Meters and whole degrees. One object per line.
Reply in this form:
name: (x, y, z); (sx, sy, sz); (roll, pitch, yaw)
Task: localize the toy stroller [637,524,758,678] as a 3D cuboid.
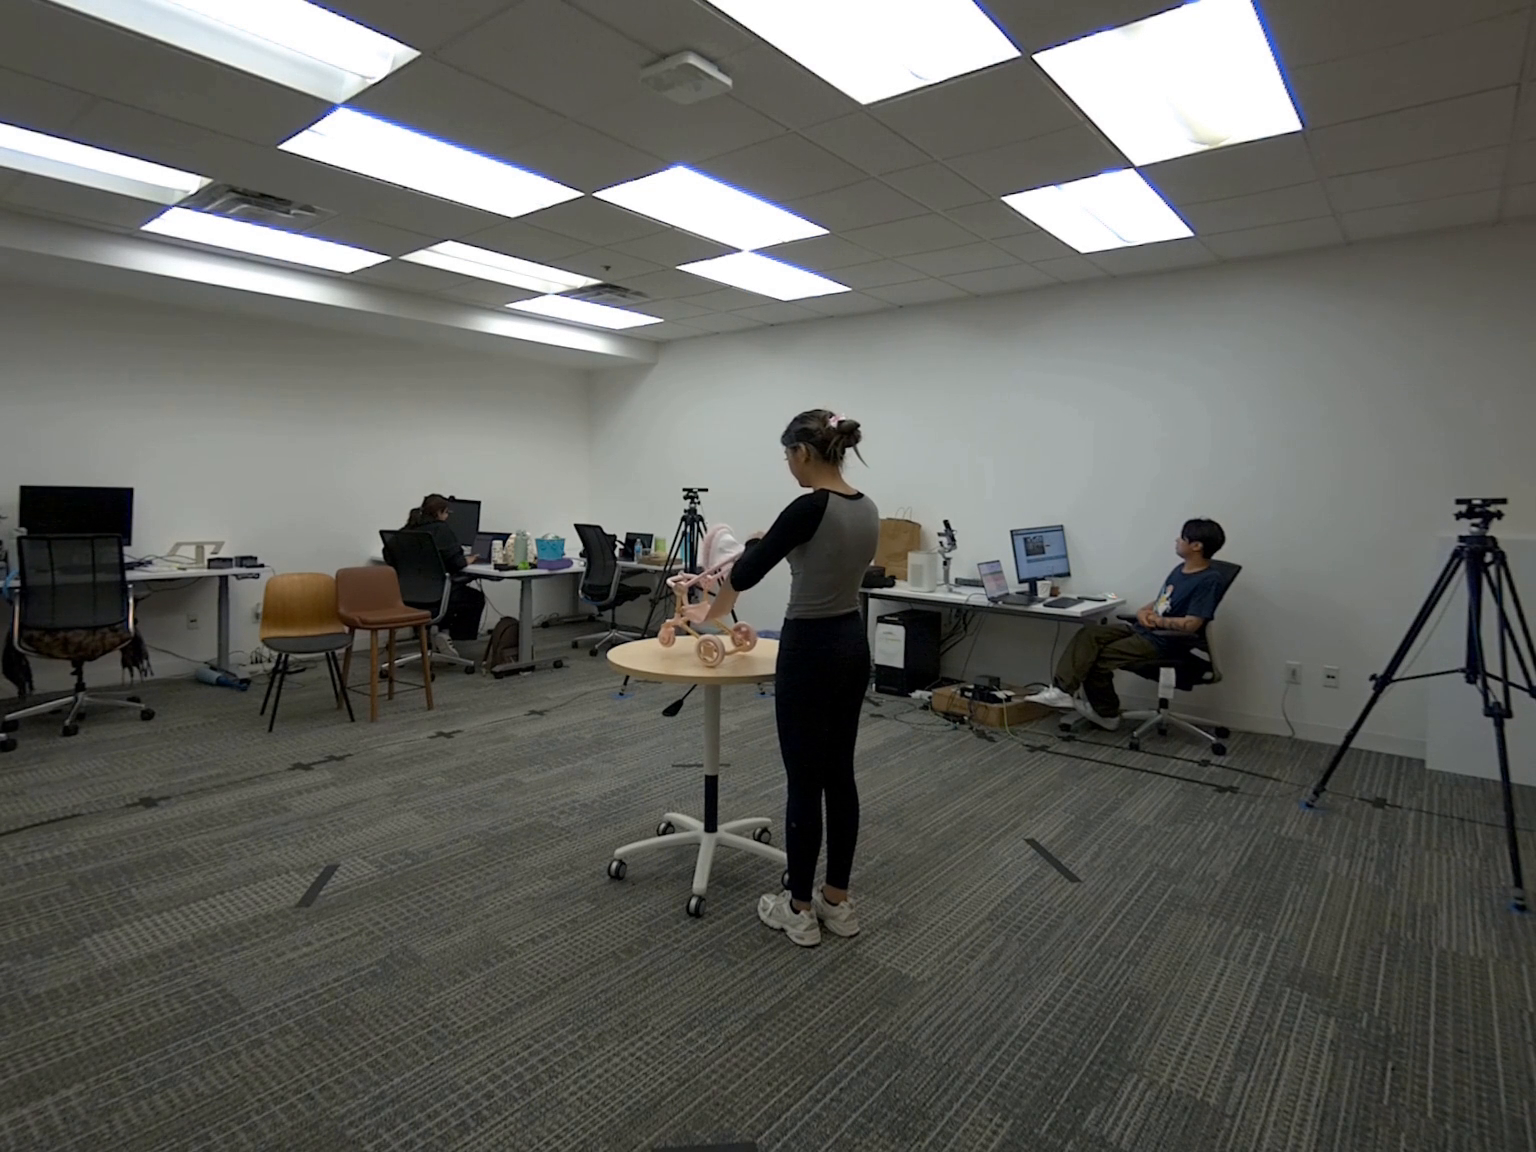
toy stroller: (-0.201, 0.050, 2.964); (0.353, 0.530, 0.274); (23, 15, 29)
